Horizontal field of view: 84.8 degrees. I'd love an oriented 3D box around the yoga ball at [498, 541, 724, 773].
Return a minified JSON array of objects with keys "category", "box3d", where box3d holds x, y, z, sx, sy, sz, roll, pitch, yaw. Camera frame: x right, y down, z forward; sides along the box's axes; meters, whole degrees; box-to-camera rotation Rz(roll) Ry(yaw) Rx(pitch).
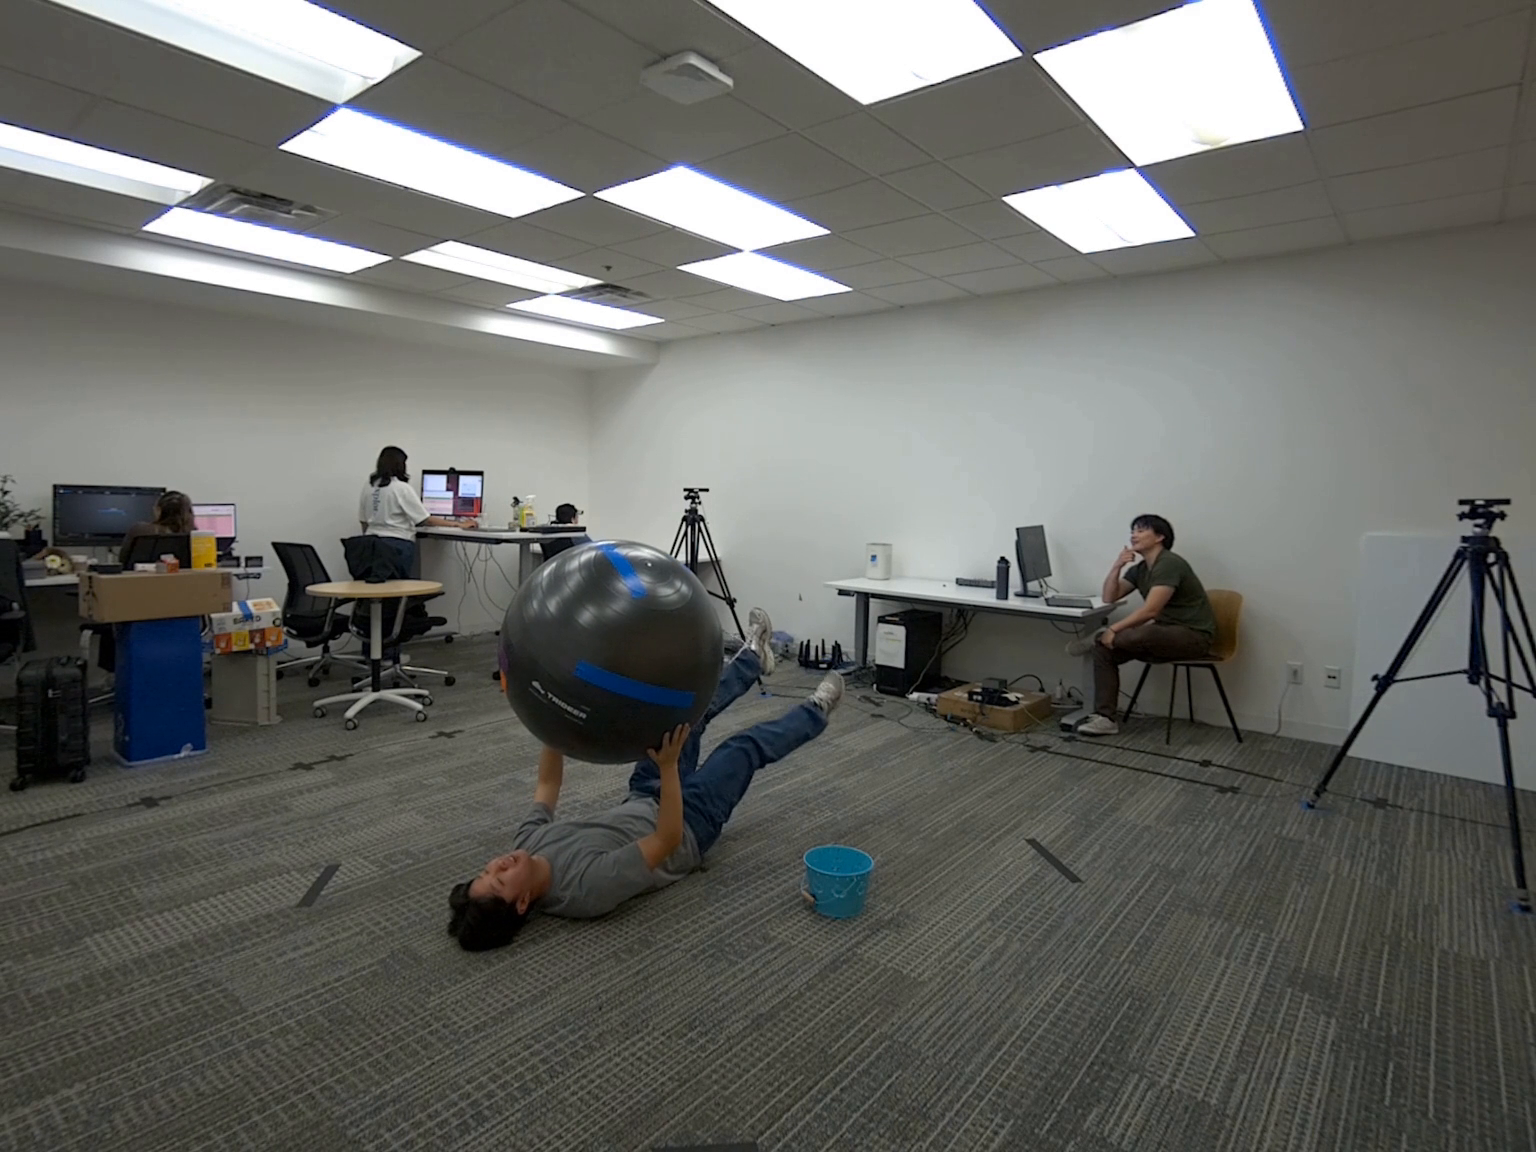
[{"category":"yoga ball","box3d":[-0.544,0.260,2.900,0.757,0.756,0.762,1,4,-2]}]
